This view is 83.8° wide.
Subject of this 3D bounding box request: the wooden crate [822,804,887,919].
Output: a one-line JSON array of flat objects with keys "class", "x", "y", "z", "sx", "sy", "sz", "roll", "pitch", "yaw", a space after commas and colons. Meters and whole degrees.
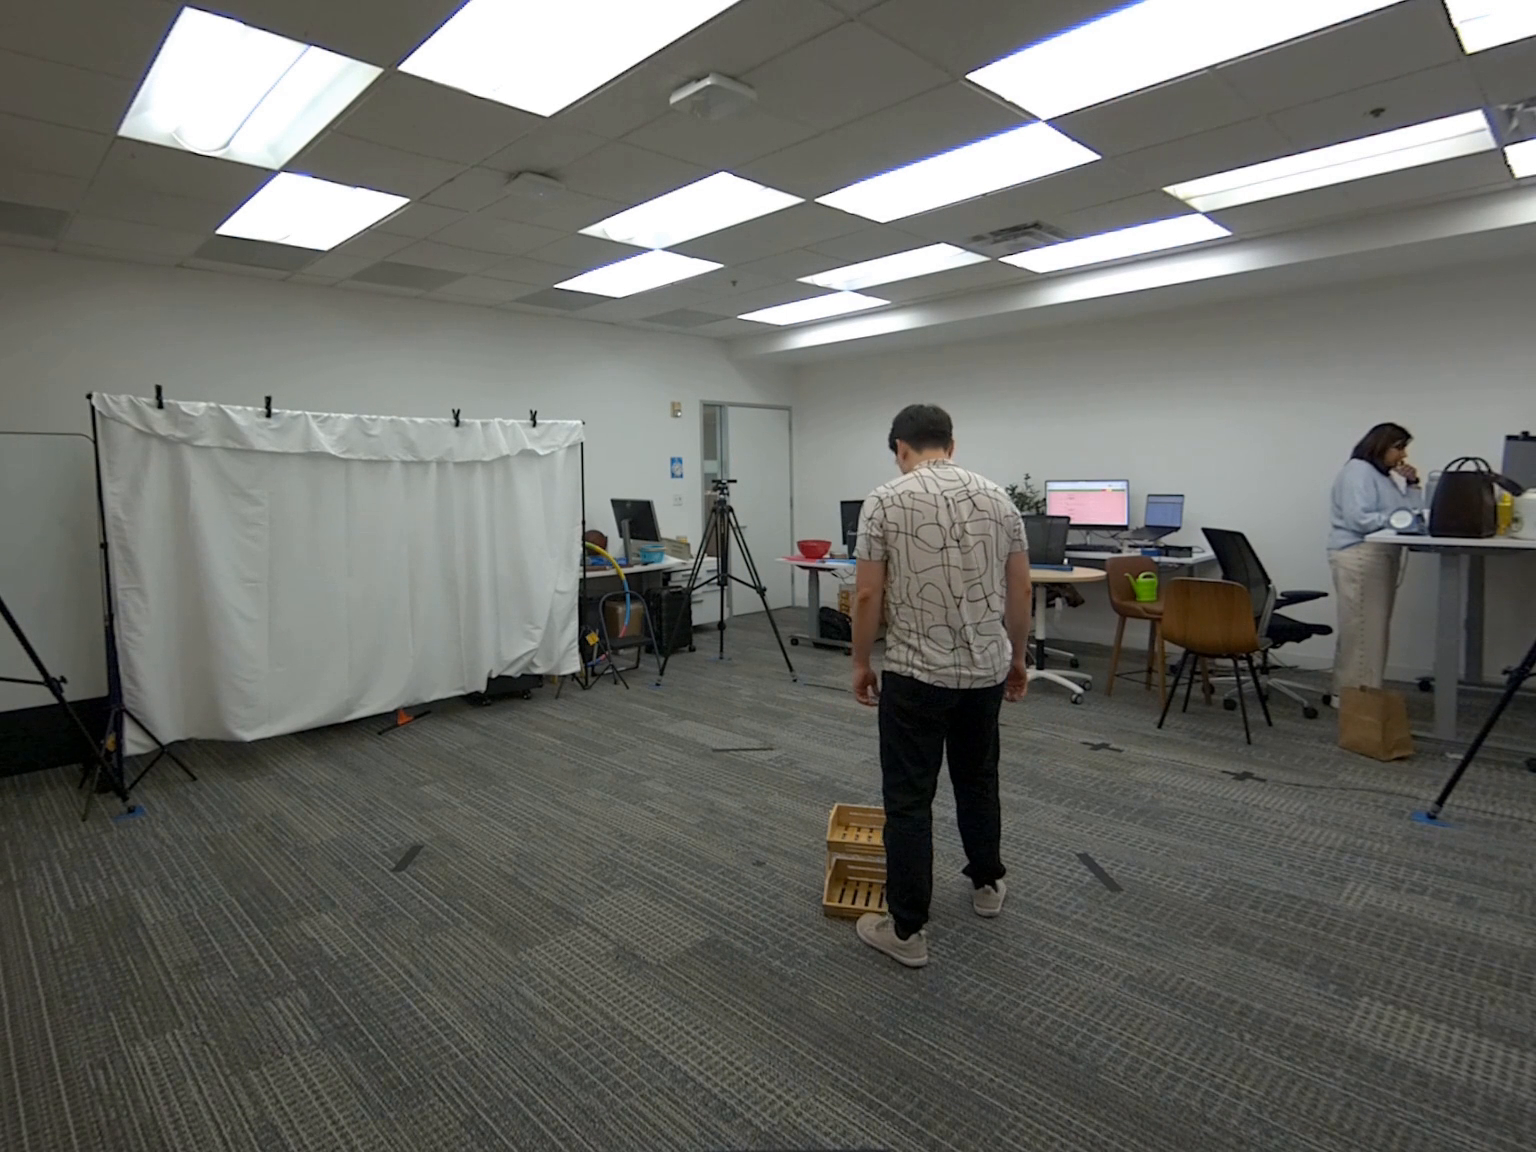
[{"class": "wooden crate", "x": 0.361, "y": 0.941, "z": 2.804, "sx": 0.329, "sy": 0.272, "sz": 0.299, "roll": 0, "pitch": 5, "yaw": 15}]
